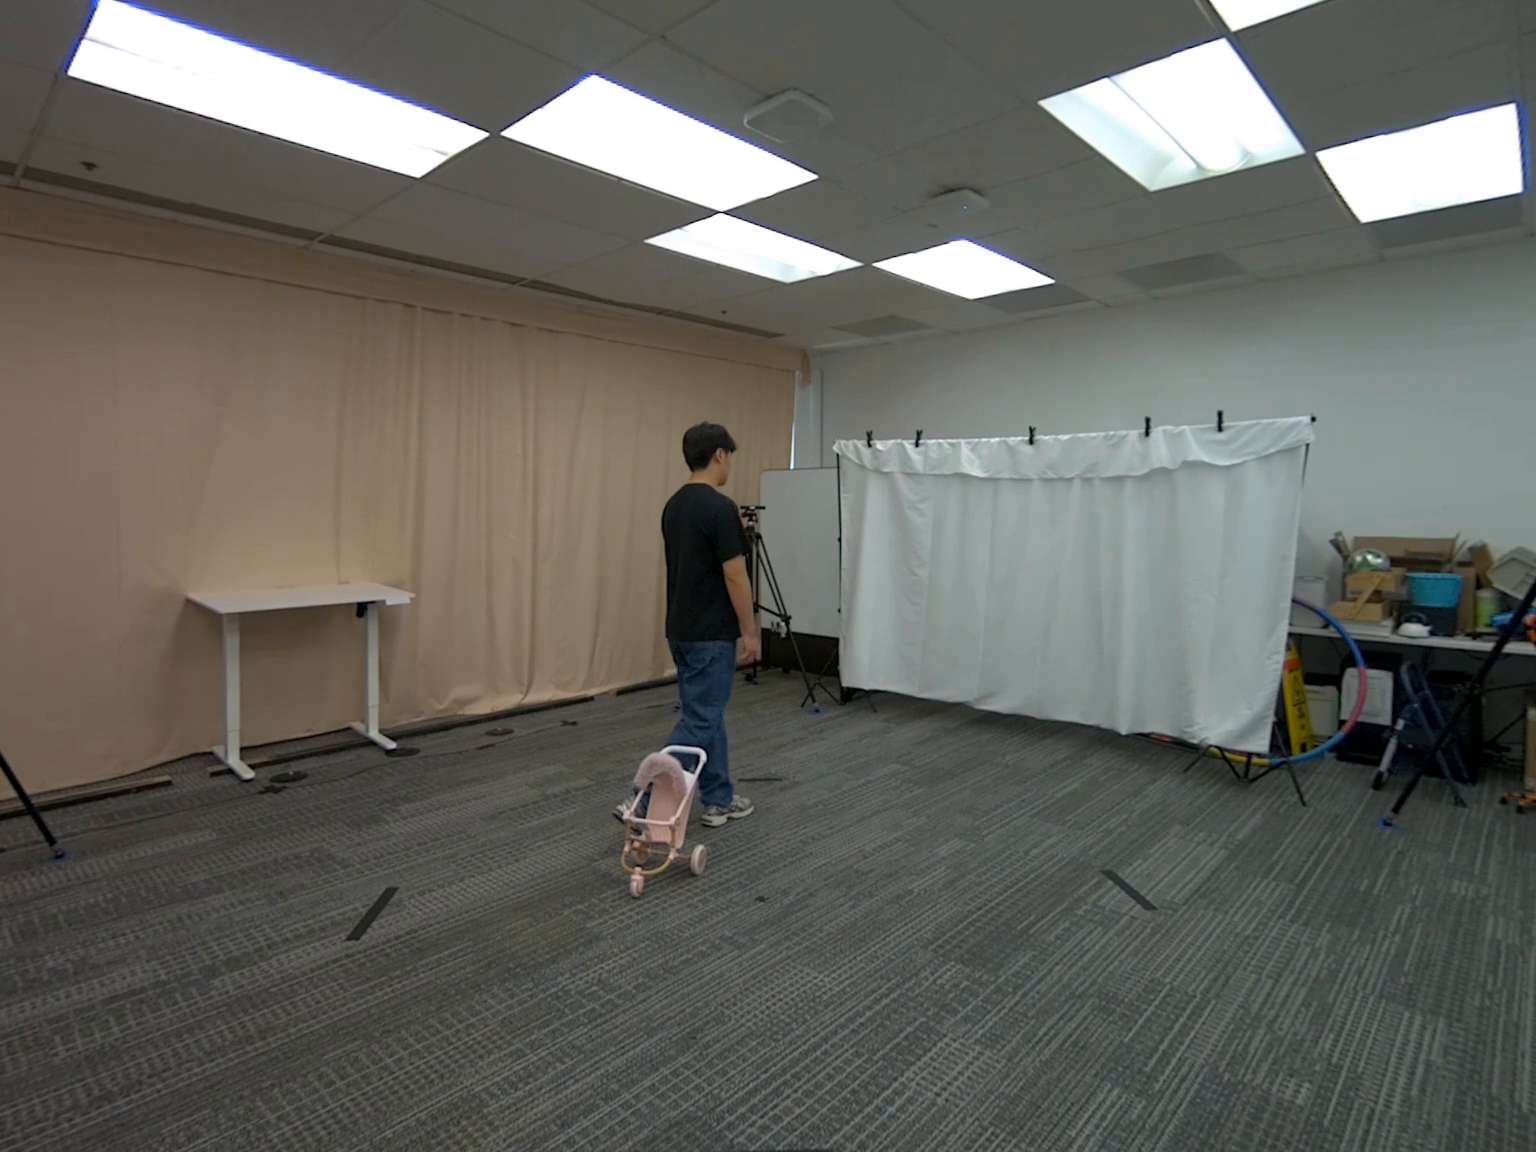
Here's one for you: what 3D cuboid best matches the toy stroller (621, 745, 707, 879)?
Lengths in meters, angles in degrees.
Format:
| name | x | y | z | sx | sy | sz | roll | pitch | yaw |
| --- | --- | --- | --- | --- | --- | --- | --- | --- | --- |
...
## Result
| name | x | y | z | sx | sy | sz | roll | pitch | yaw |
| --- | --- | --- | --- | --- | --- | --- | --- | --- | --- |
| toy stroller | -0.406 | 0.904 | 3.170 | 0.289 | 0.538 | 0.330 | 0 | -13 | 27 |
